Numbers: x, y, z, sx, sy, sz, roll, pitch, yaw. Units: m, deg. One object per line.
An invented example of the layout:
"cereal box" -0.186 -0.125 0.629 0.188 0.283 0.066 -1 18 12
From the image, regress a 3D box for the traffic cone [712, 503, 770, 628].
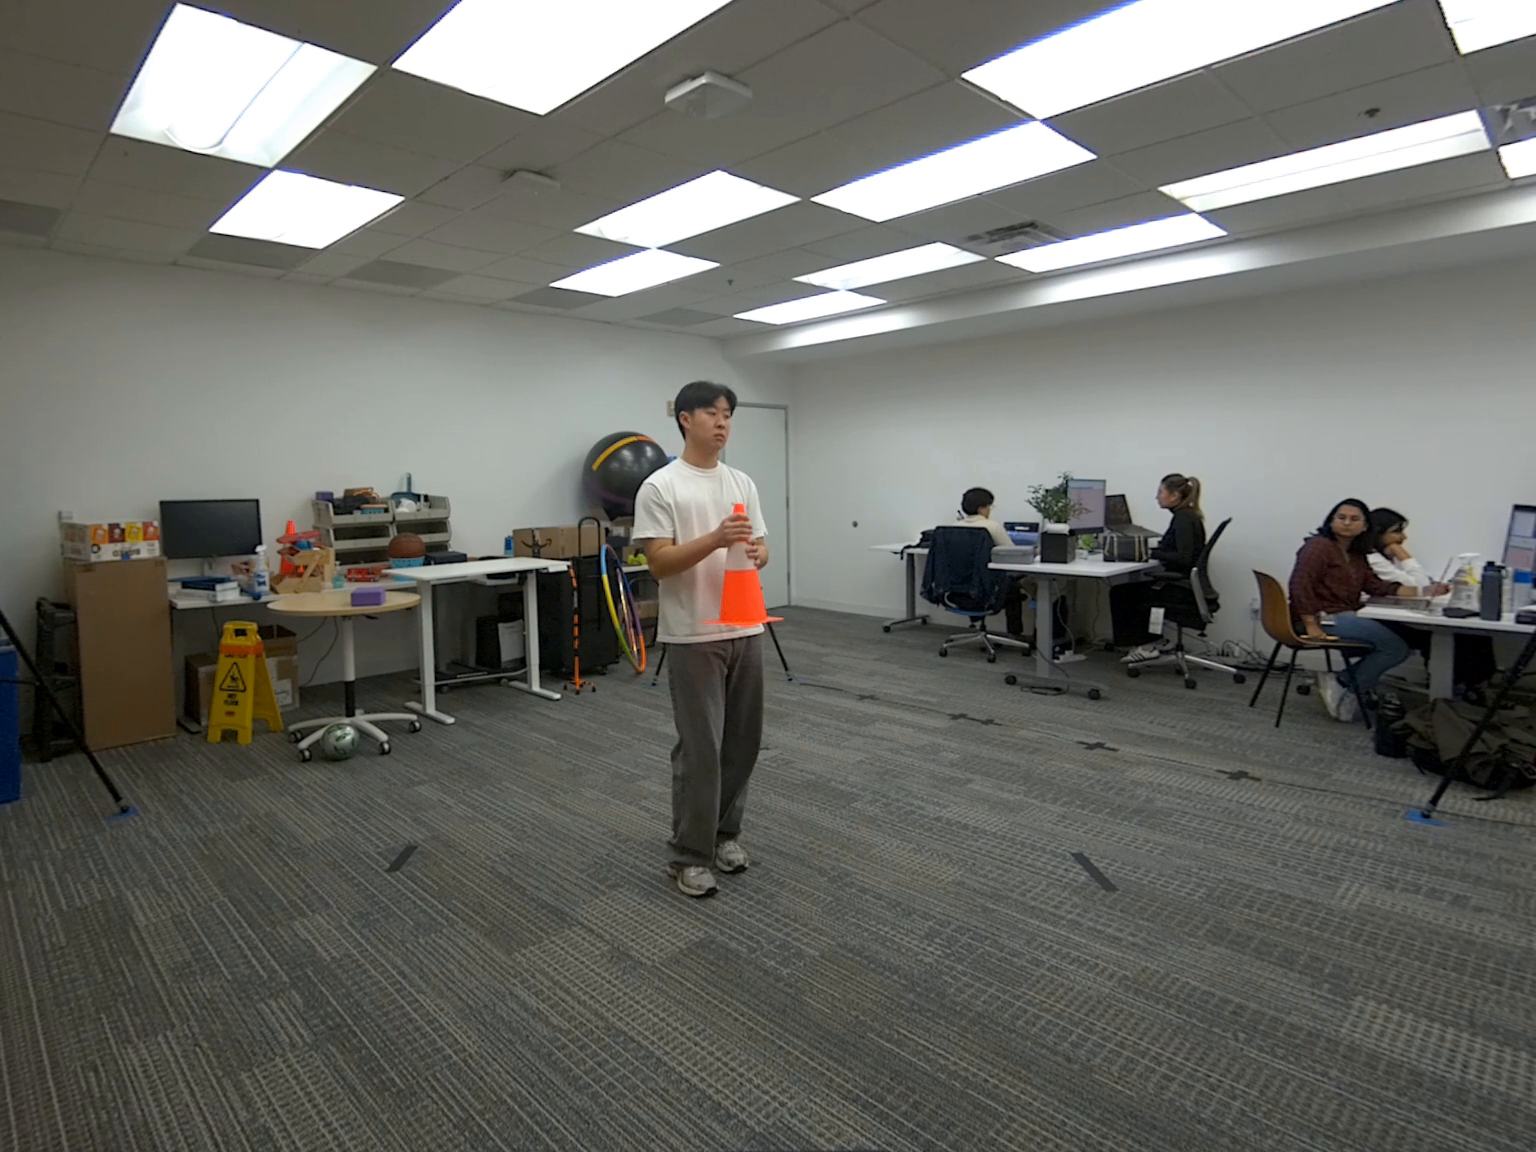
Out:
"traffic cone" -0.098 -0.038 2.788 0.210 0.383 0.198 -1 3 34
